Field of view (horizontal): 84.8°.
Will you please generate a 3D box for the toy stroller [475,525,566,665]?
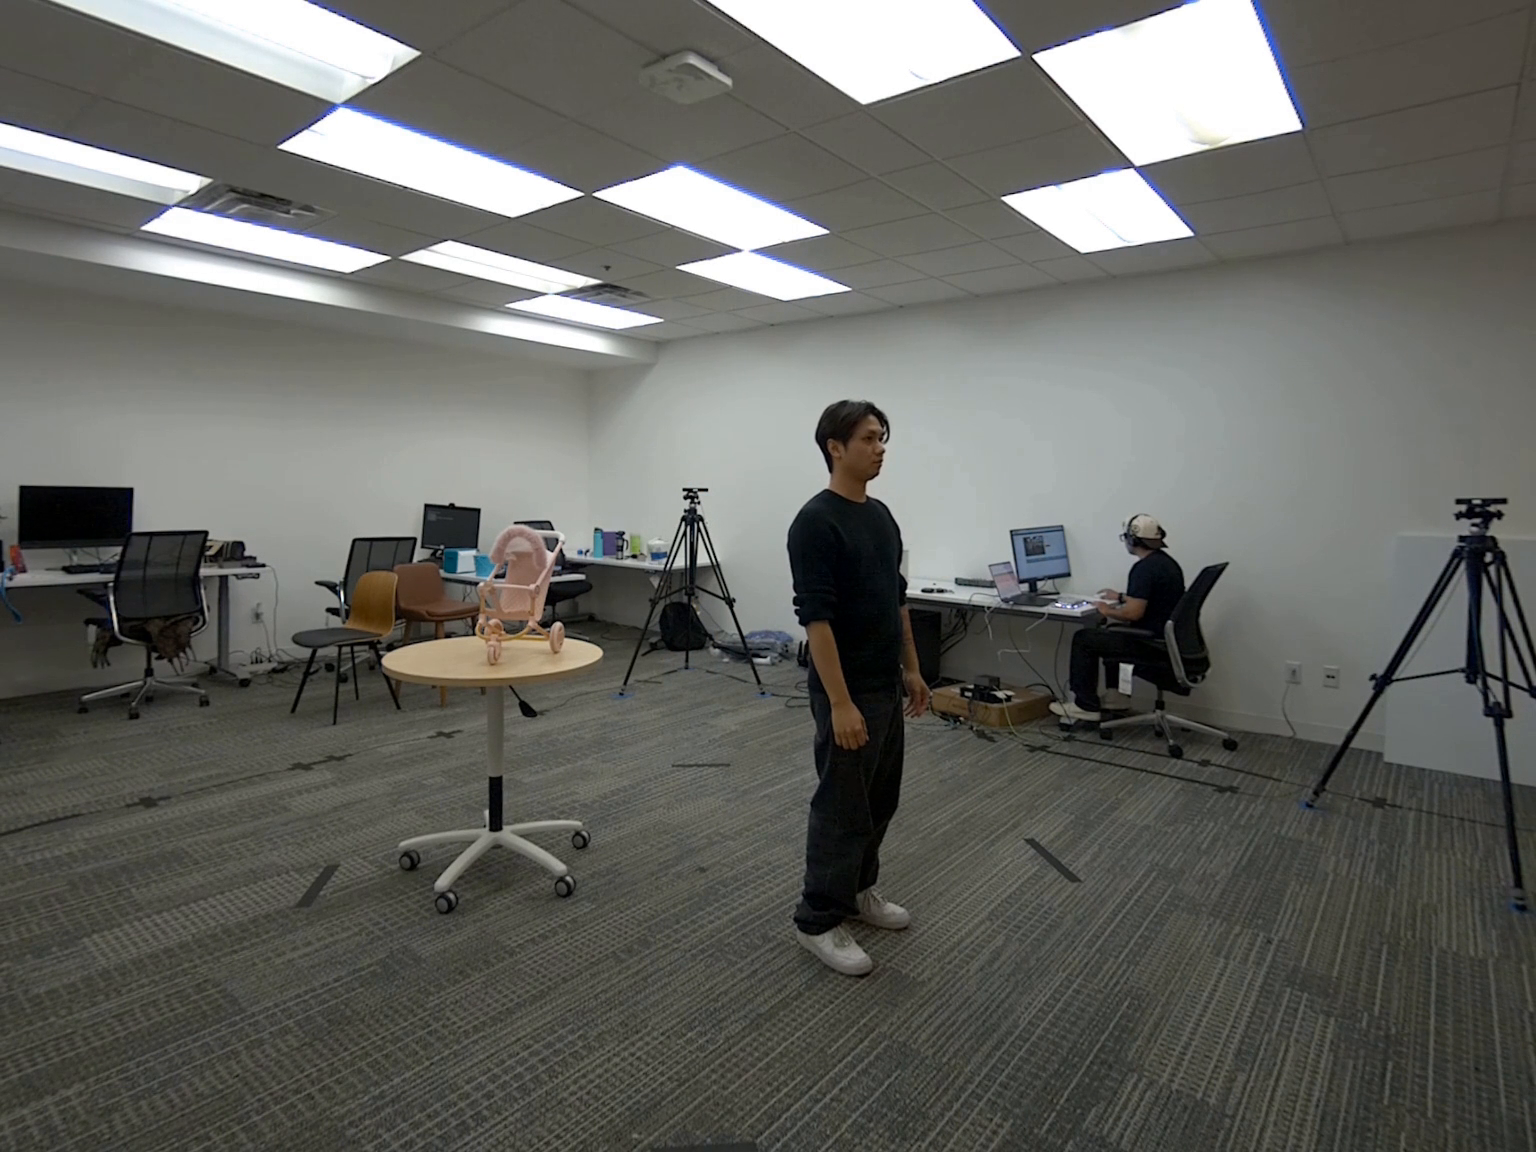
[{"bbox_3d":[-0.923,0.056,3.049,0.285,0.540,0.333,3,-12,12],"label":"toy stroller"}]
